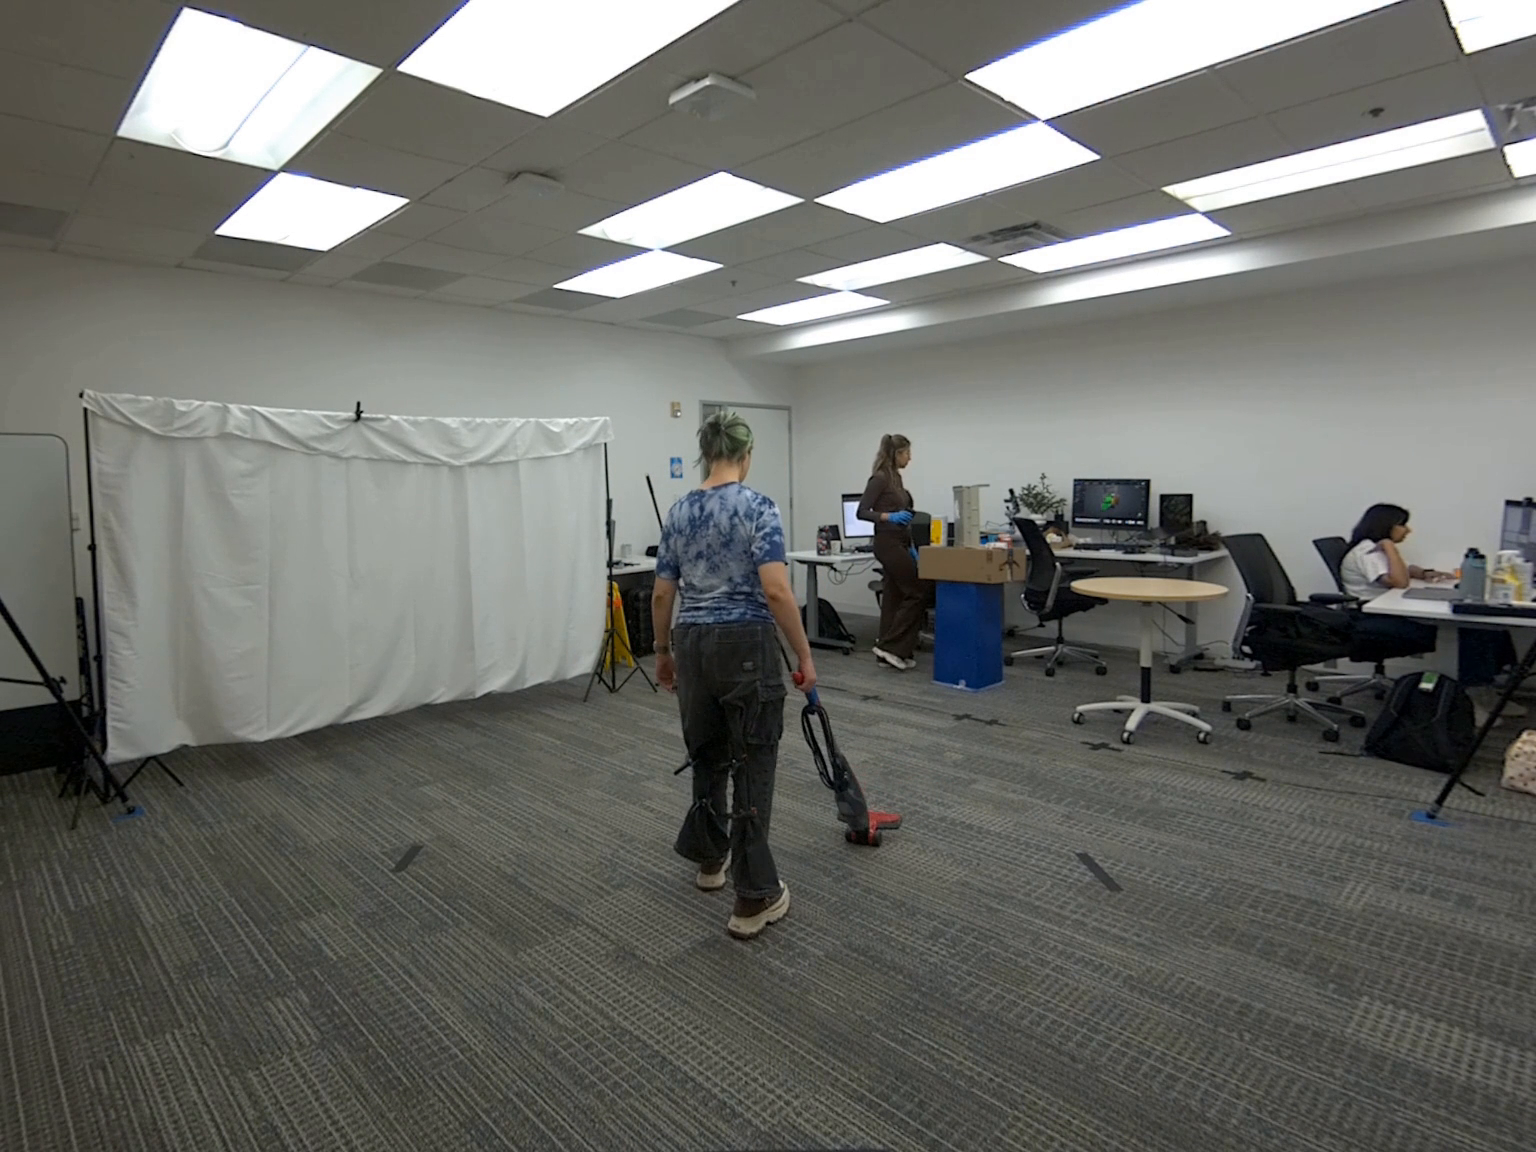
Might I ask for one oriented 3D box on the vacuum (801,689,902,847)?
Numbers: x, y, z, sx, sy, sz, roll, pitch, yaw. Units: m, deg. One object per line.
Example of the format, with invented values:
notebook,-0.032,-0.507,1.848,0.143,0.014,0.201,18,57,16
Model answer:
vacuum,0.234,0.653,2.975,0.259,0.145,1.011,4,-40,28
